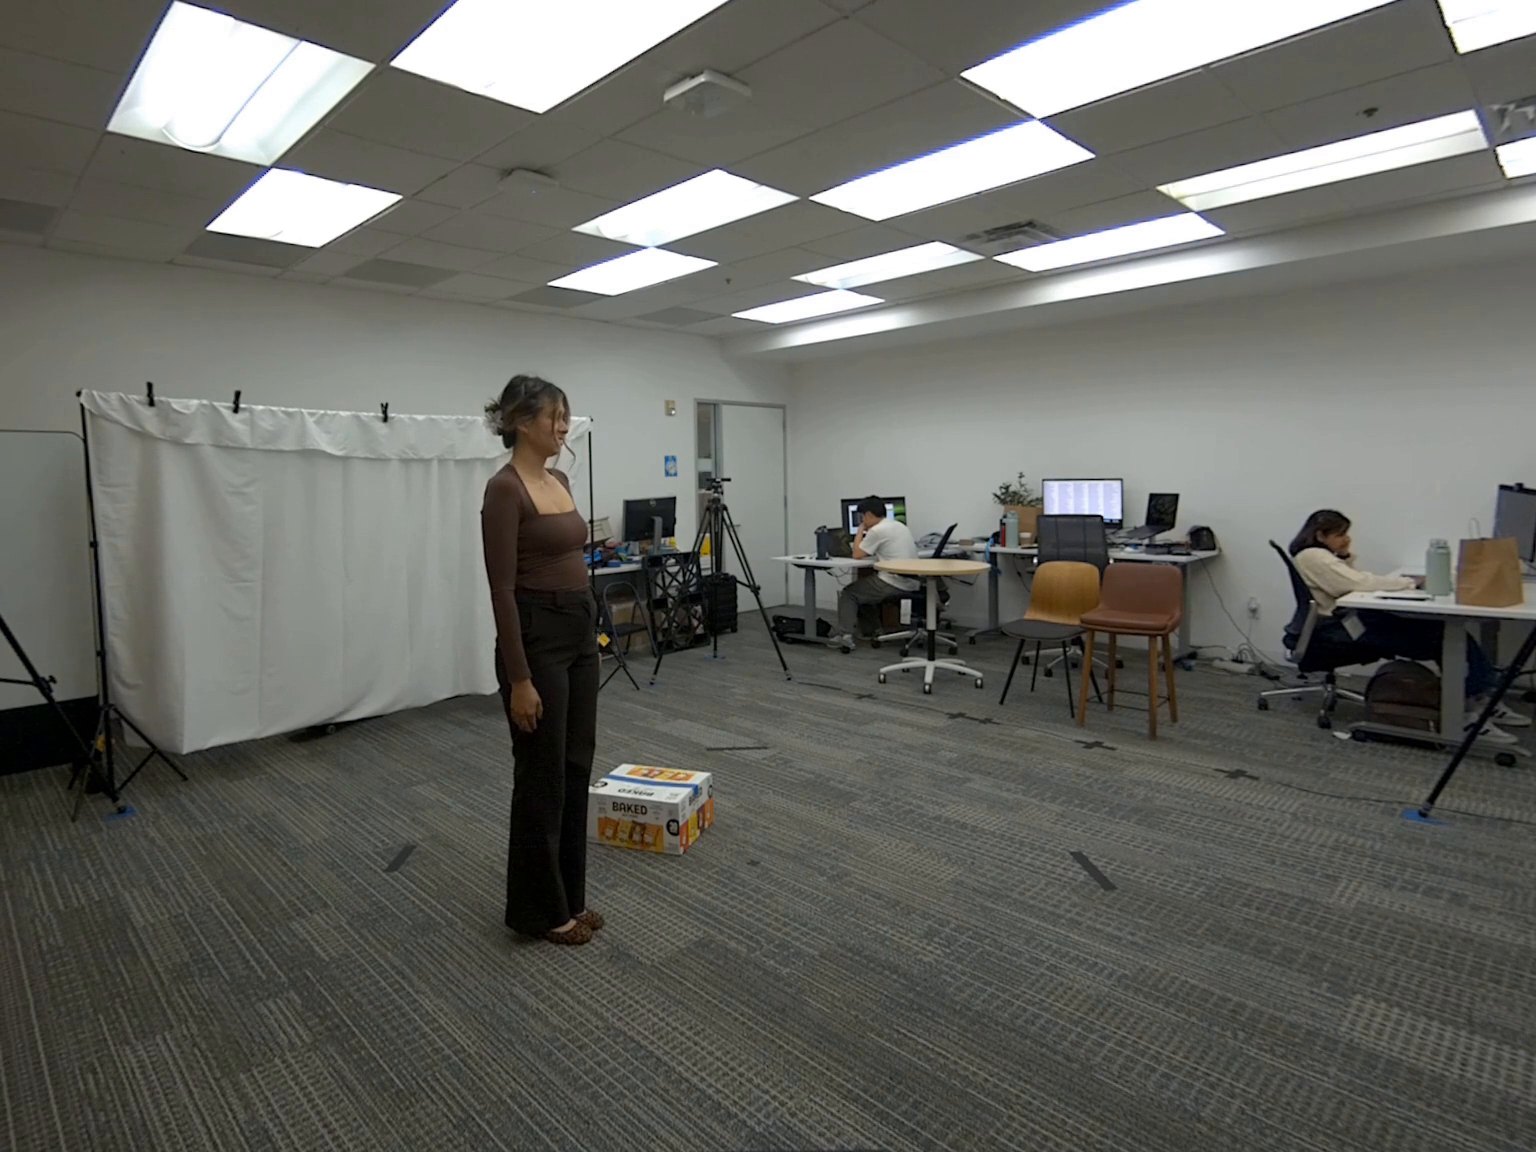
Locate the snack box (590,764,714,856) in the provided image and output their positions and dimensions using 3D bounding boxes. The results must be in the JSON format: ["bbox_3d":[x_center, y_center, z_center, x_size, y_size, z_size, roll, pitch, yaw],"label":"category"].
[{"bbox_3d":[-0.467,0.915,3.387,0.413,0.205,0.335,1,6,19],"label":"snack box"}]
